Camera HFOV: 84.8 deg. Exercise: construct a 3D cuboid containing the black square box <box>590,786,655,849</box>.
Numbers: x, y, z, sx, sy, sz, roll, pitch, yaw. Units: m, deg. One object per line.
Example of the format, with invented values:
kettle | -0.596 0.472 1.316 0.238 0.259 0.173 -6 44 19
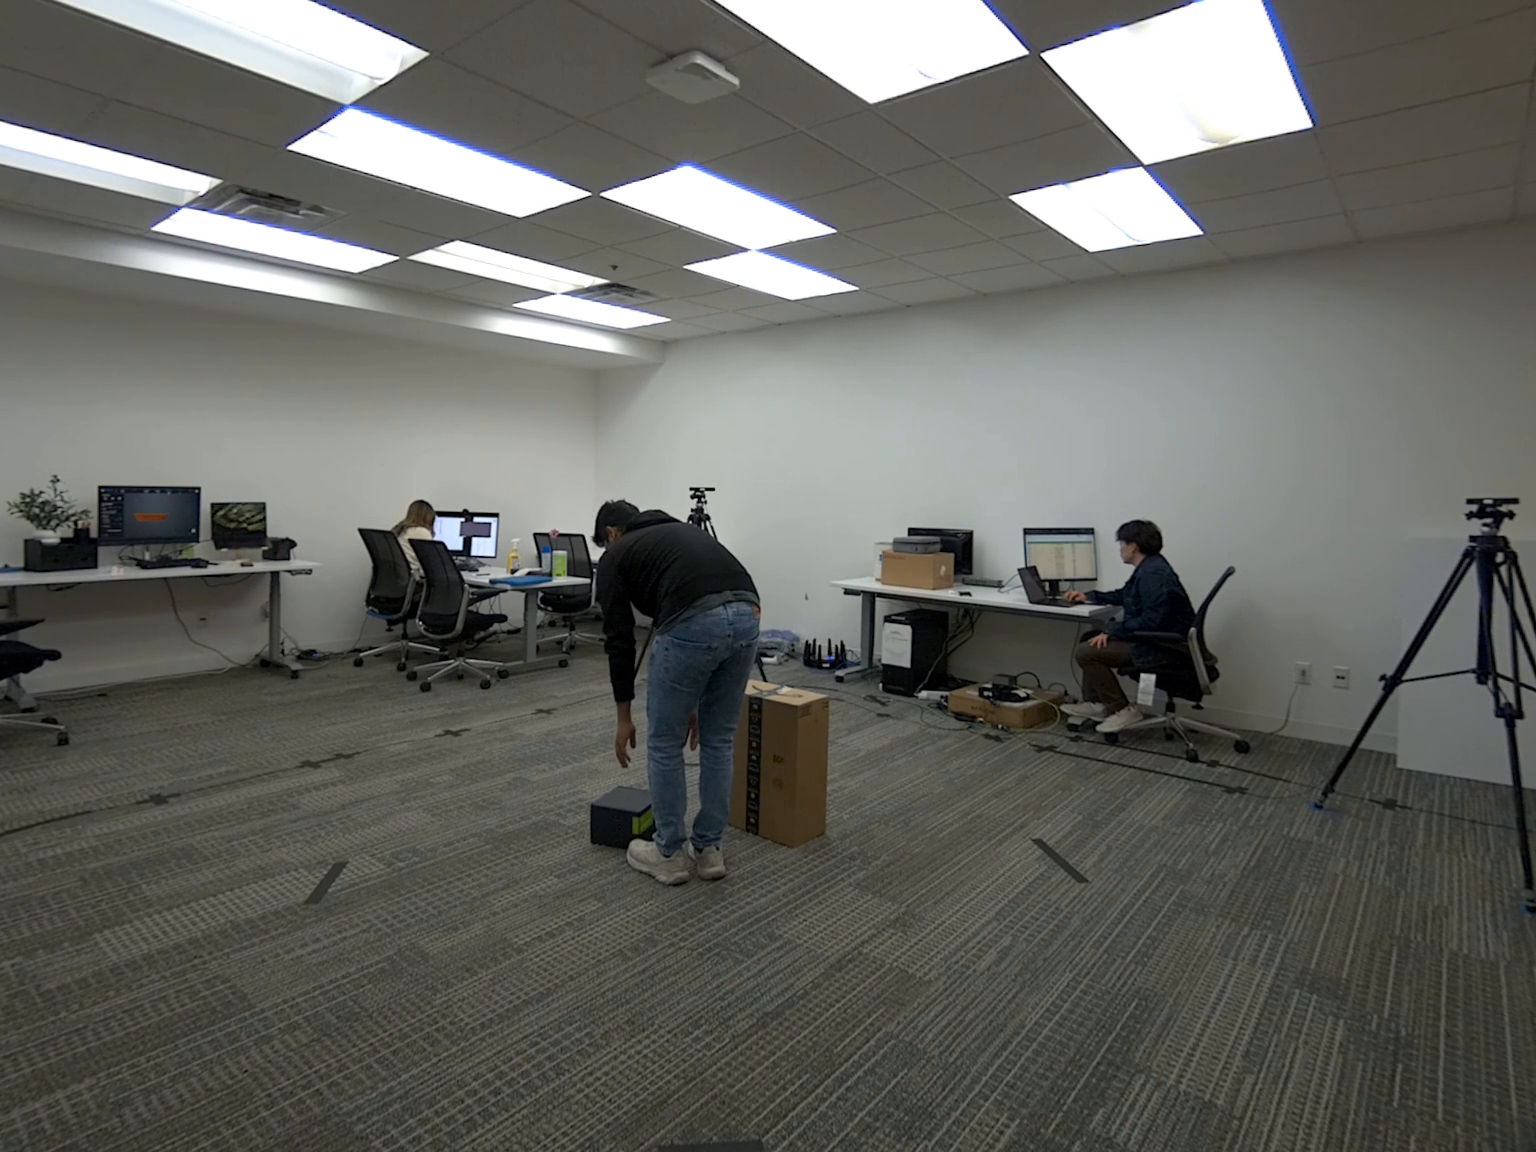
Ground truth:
black square box | -0.565 0.949 3.375 0.221 0.155 0.224 2 5 19
